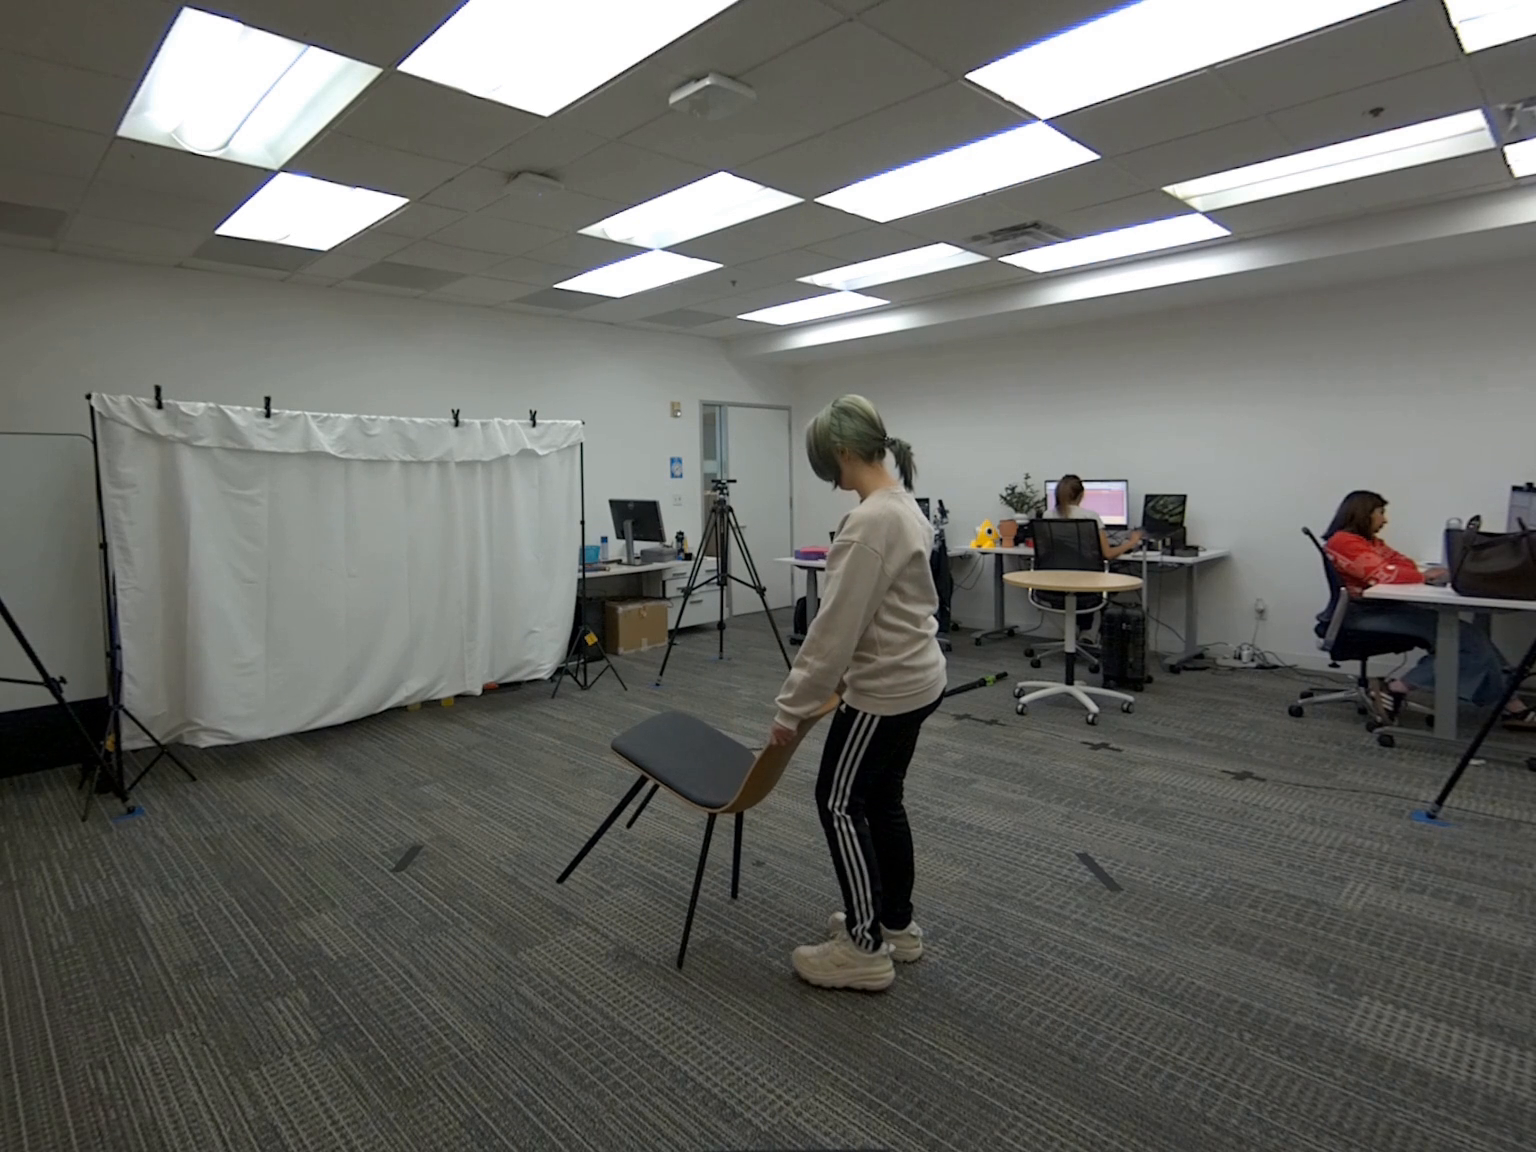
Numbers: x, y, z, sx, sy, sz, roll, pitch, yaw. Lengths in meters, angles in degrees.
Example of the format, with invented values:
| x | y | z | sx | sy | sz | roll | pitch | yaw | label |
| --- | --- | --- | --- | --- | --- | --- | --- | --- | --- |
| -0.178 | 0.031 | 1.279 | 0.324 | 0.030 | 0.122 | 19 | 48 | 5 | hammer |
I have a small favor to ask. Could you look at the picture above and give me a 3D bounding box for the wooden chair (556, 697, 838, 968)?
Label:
| x | y | z | sx | sy | sz | roll | pitch | yaw | label |
| --- | --- | --- | --- | --- | --- | --- | --- | --- | --- |
| -0.213 | 0.623 | 2.631 | 0.535 | 0.872 | 0.470 | 31 | 15 | 17 | wooden chair |
